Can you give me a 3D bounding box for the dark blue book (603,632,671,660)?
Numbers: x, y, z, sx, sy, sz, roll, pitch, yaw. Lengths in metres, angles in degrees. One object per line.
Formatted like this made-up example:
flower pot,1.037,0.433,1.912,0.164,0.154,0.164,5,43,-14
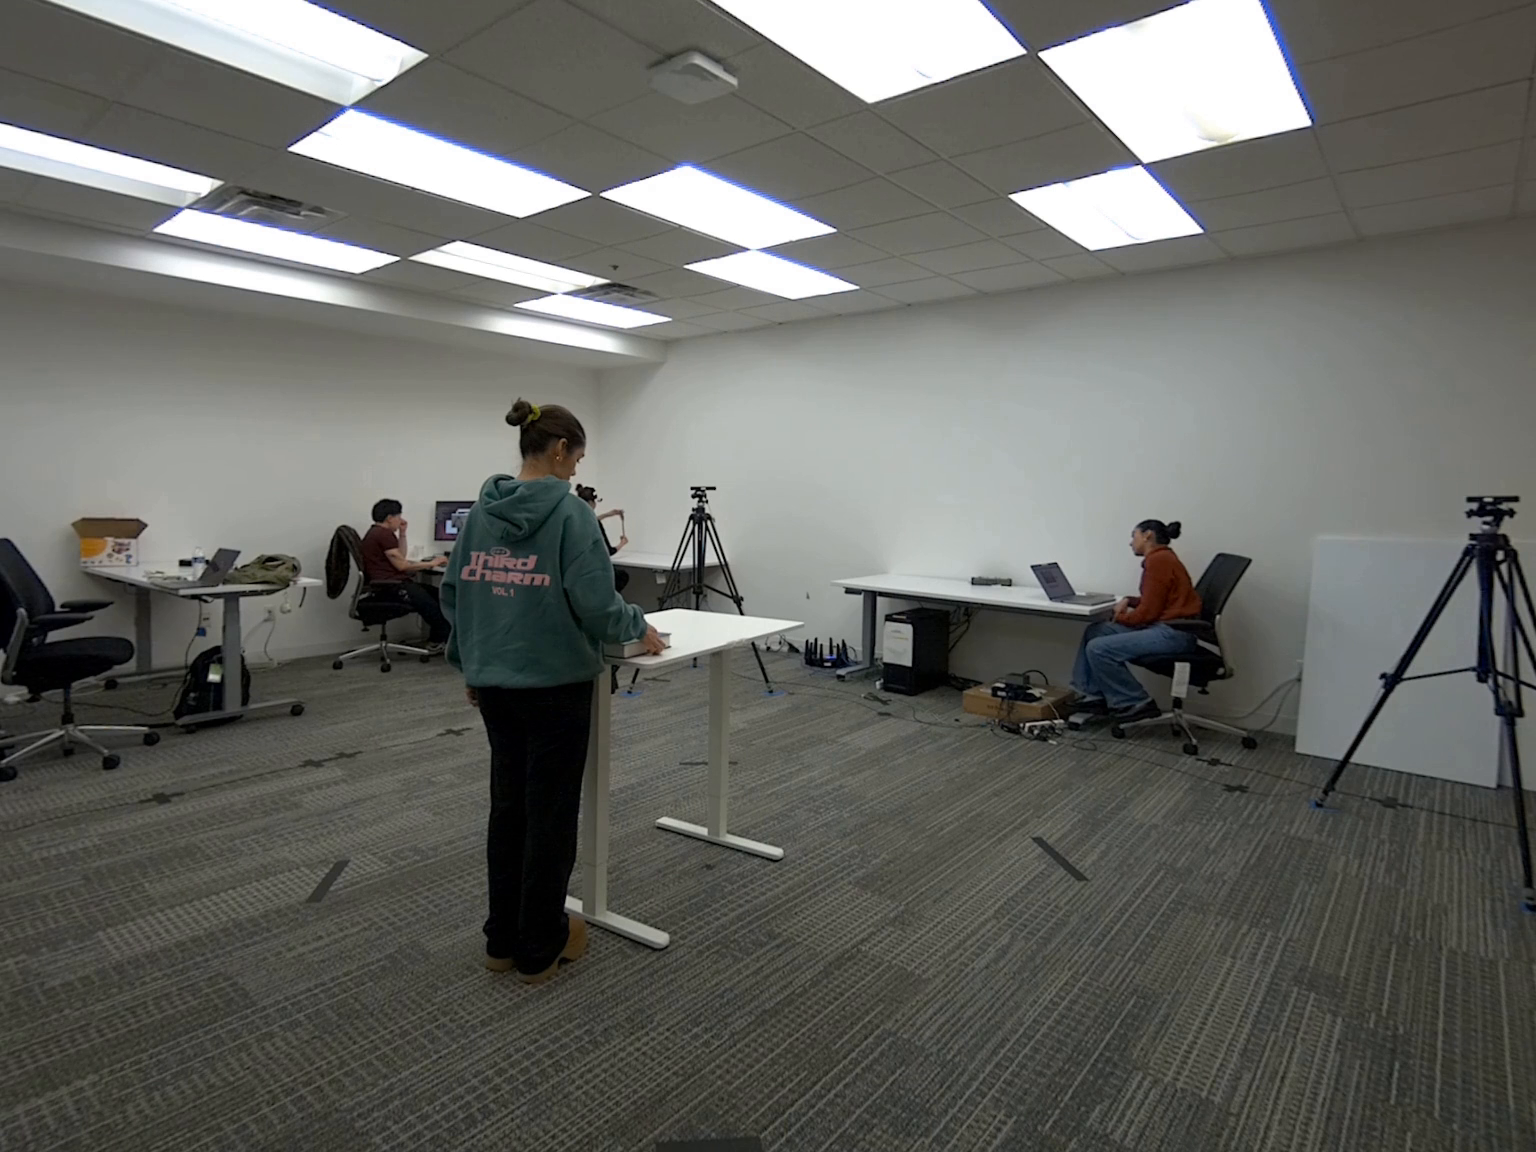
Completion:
dark blue book,-0.445,0.208,2.617,0.168,0.045,0.239,3,6,27
